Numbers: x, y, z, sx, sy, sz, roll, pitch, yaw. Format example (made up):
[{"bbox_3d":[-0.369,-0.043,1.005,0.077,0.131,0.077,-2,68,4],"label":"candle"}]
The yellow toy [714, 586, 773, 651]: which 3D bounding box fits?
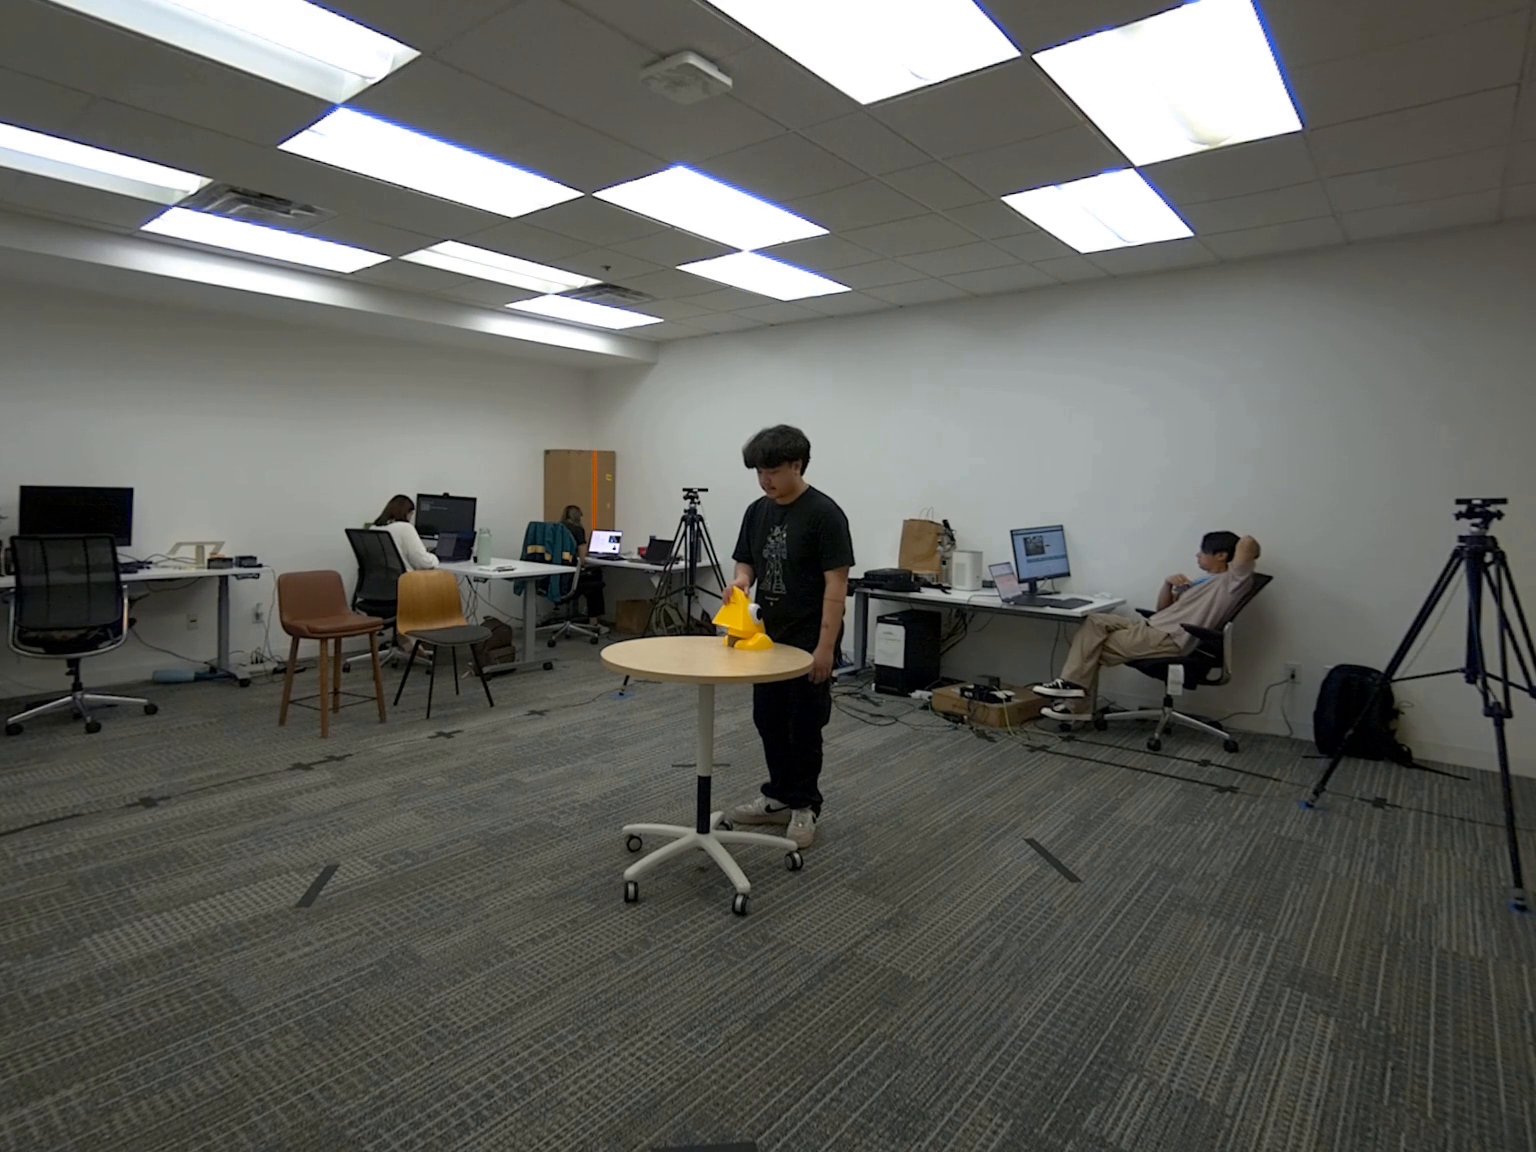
[{"bbox_3d":[-0.091,0.151,3.272,0.187,0.230,0.211,0,4,-34],"label":"yellow toy"}]
